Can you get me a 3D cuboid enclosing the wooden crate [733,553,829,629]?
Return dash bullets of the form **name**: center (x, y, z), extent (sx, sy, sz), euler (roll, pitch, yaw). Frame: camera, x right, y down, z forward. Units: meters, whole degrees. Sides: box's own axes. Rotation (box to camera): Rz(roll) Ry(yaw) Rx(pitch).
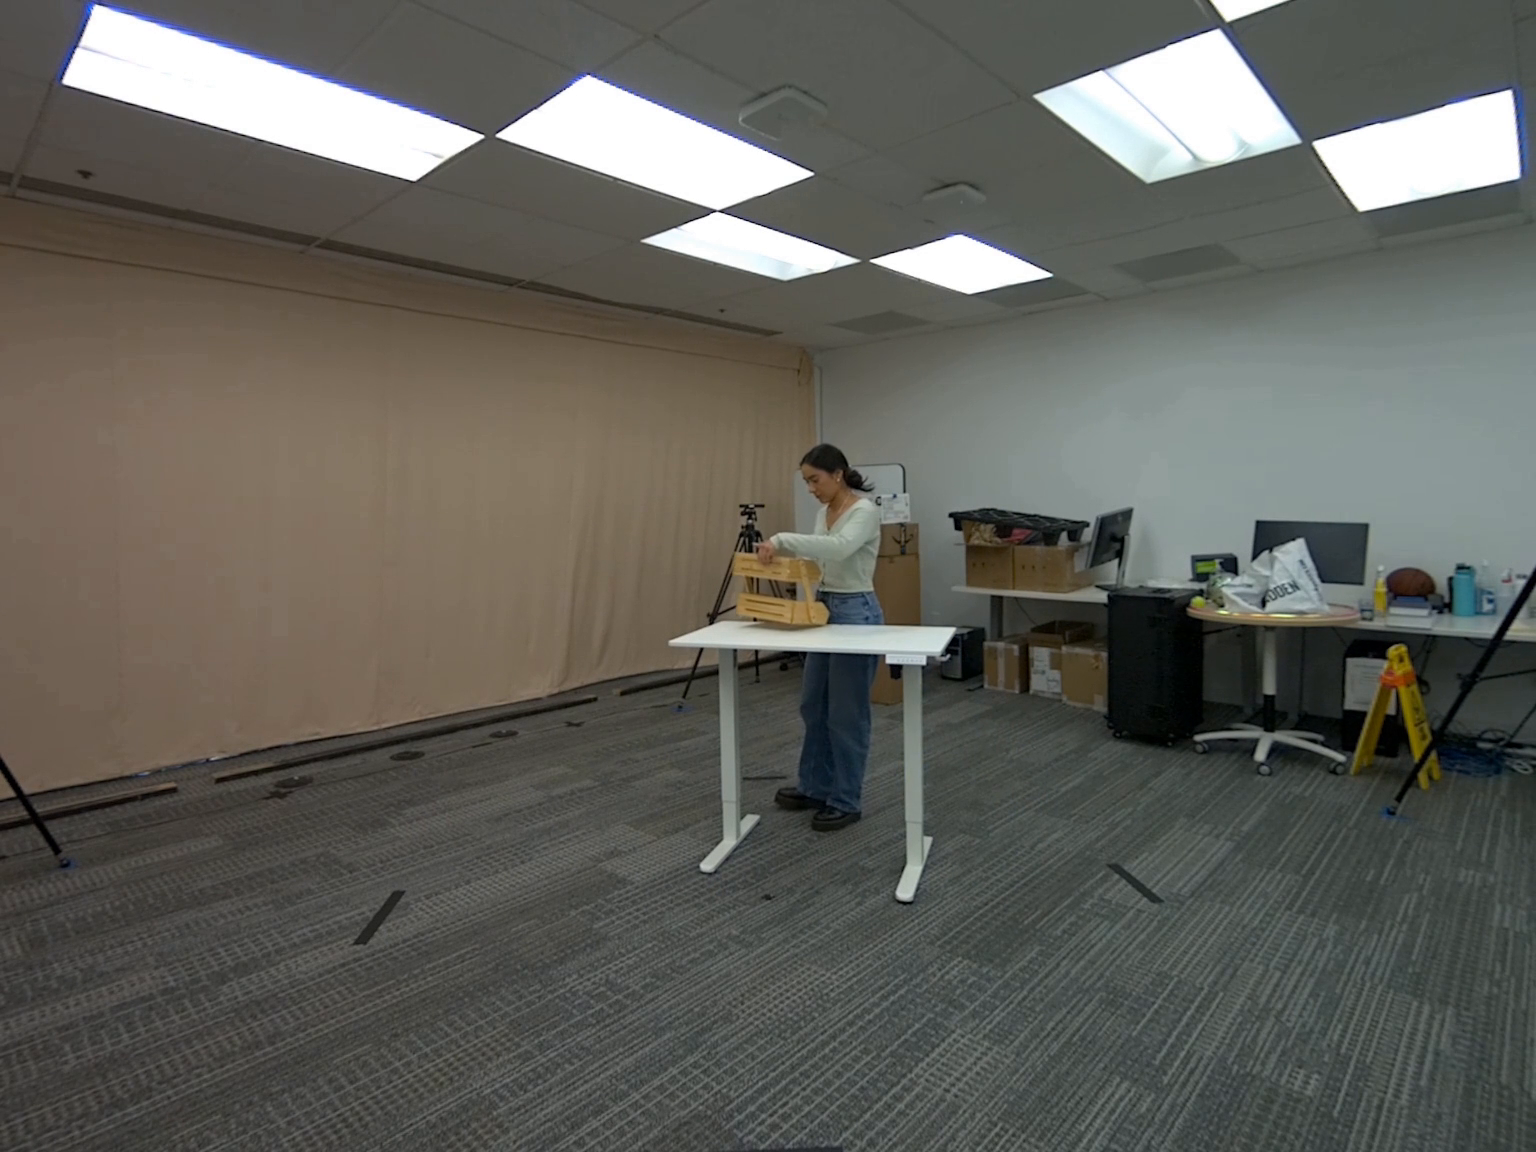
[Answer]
- **wooden crate**: center (0.059, 0.049, 3.508), extent (0.335, 0.273, 0.292), euler (7, 2, 40)
